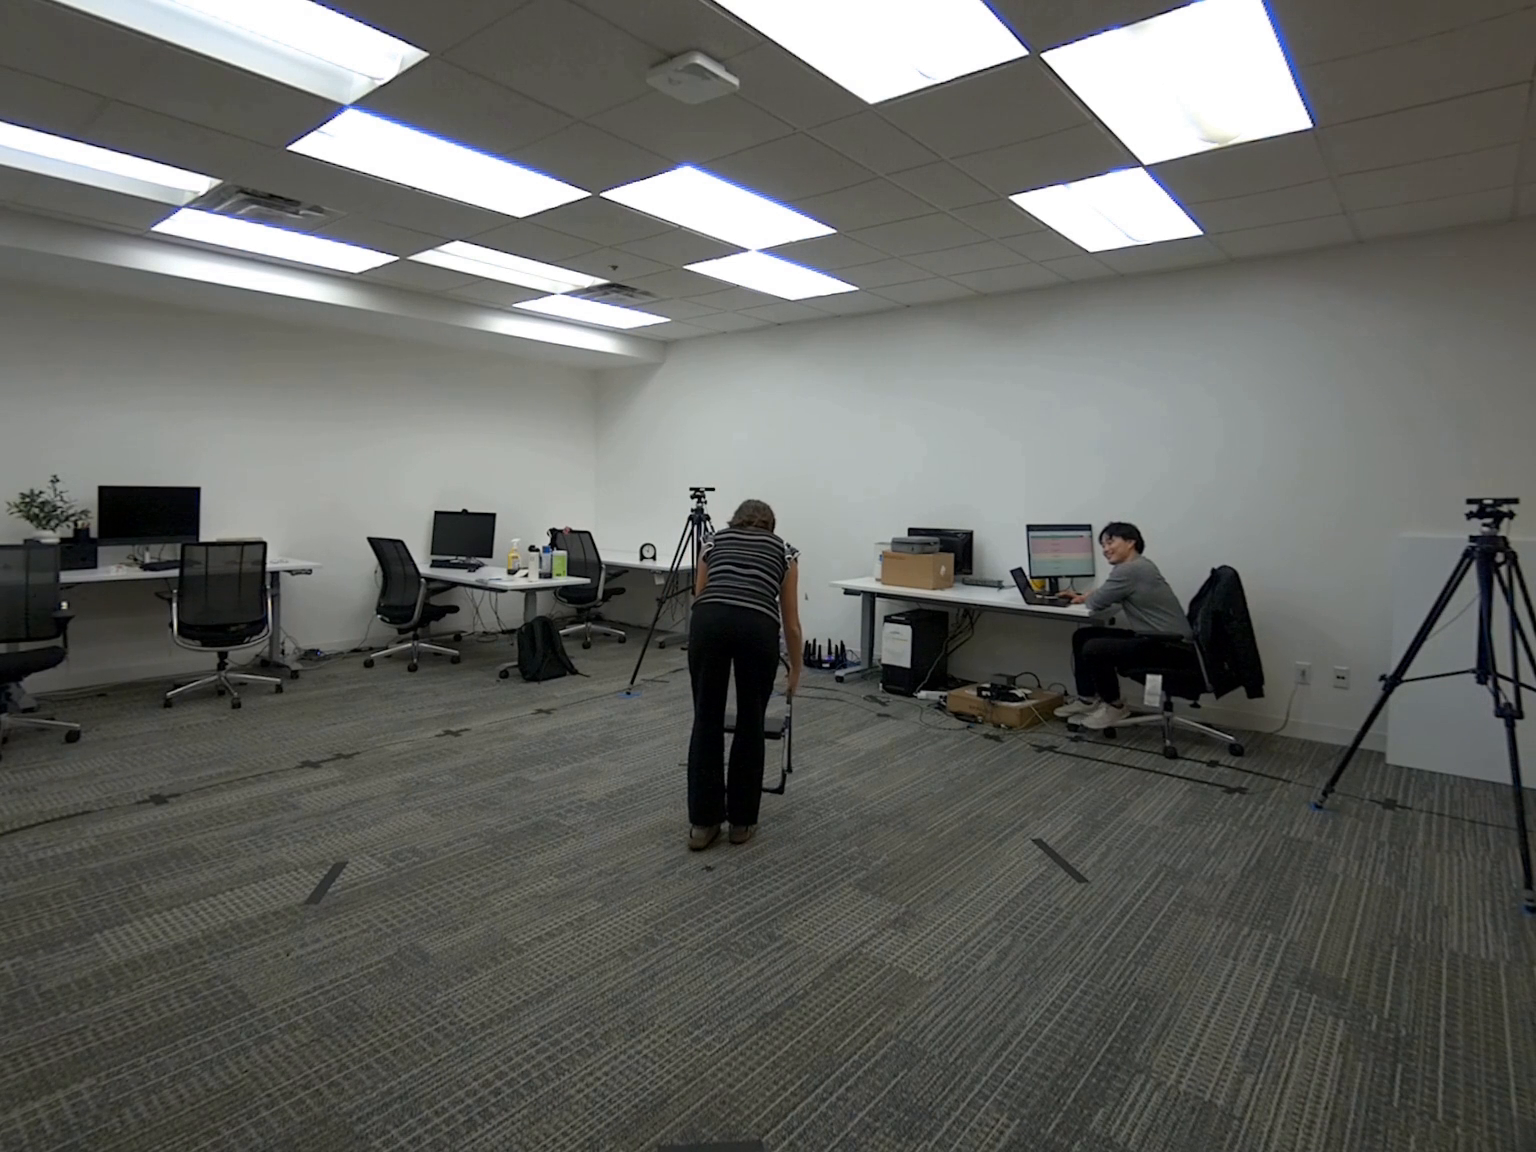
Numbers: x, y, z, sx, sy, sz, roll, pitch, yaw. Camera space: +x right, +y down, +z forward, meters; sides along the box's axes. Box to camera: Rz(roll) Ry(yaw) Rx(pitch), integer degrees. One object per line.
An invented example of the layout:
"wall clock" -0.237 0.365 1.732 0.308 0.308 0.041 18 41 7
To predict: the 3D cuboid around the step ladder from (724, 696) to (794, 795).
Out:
"step ladder" -0.111 0.594 3.780 0.435 0.604 0.346 3 3 9
